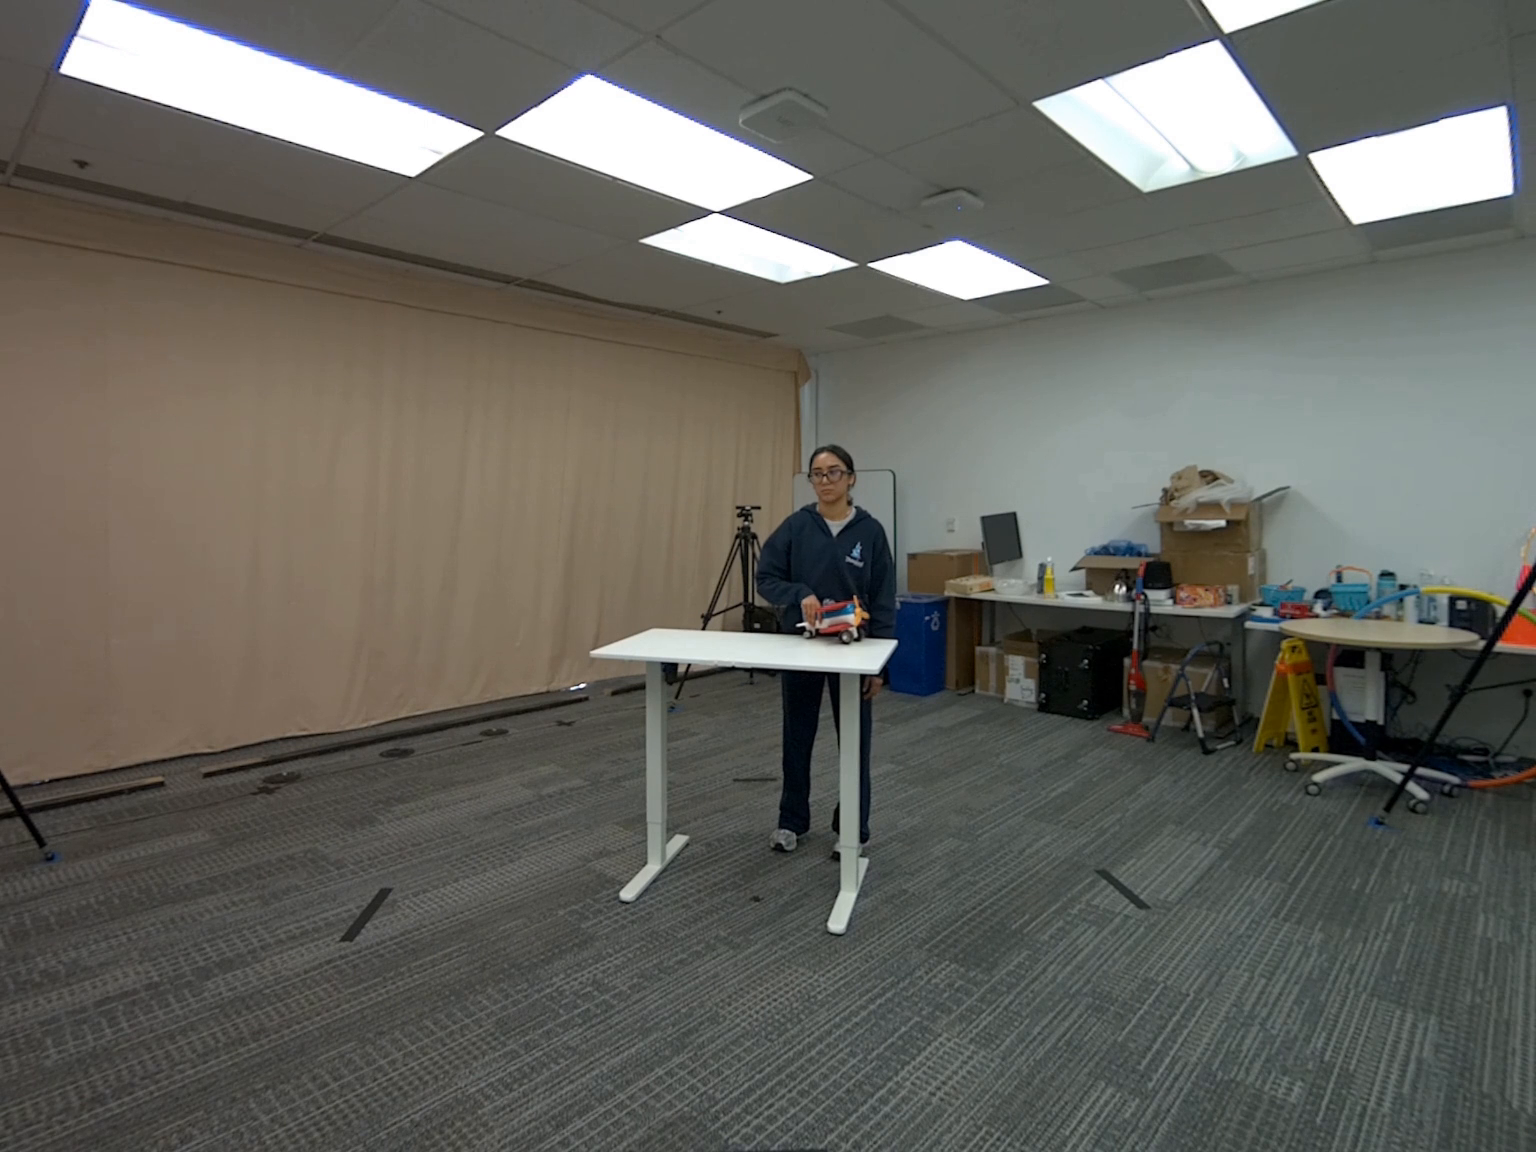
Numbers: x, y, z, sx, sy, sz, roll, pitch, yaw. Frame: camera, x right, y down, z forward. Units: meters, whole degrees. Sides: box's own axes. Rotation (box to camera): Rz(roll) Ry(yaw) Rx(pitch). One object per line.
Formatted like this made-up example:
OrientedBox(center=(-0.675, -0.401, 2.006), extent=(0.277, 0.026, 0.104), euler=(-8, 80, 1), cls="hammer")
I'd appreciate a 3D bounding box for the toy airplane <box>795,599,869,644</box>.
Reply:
OrientedBox(center=(0.243, 0.164, 3.162), extent=(0.261, 0.156, 0.249), euler=(2, 5, 7), cls="toy airplane")
